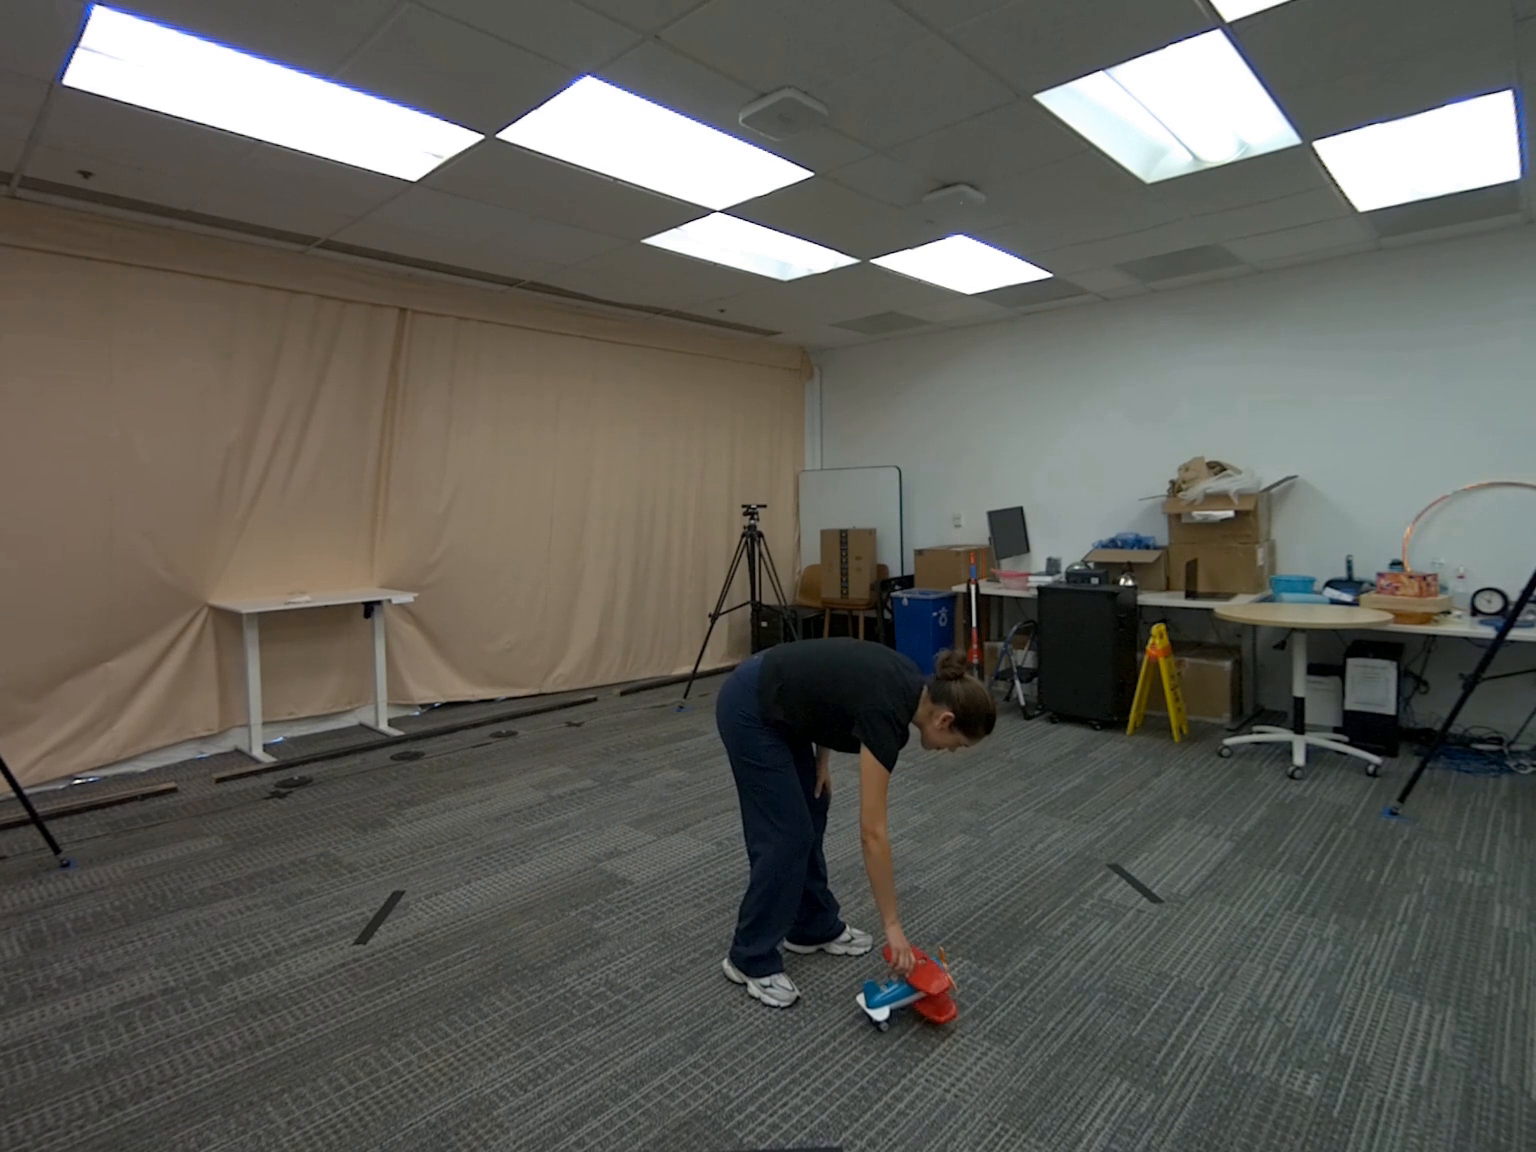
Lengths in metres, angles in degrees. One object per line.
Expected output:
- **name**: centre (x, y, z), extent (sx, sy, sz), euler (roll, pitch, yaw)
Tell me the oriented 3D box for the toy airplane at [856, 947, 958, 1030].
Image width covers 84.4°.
- **toy airplane**: centre (0.403, 1.122, 2.258), extent (0.259, 0.156, 0.251), euler (4, 6, 42)
